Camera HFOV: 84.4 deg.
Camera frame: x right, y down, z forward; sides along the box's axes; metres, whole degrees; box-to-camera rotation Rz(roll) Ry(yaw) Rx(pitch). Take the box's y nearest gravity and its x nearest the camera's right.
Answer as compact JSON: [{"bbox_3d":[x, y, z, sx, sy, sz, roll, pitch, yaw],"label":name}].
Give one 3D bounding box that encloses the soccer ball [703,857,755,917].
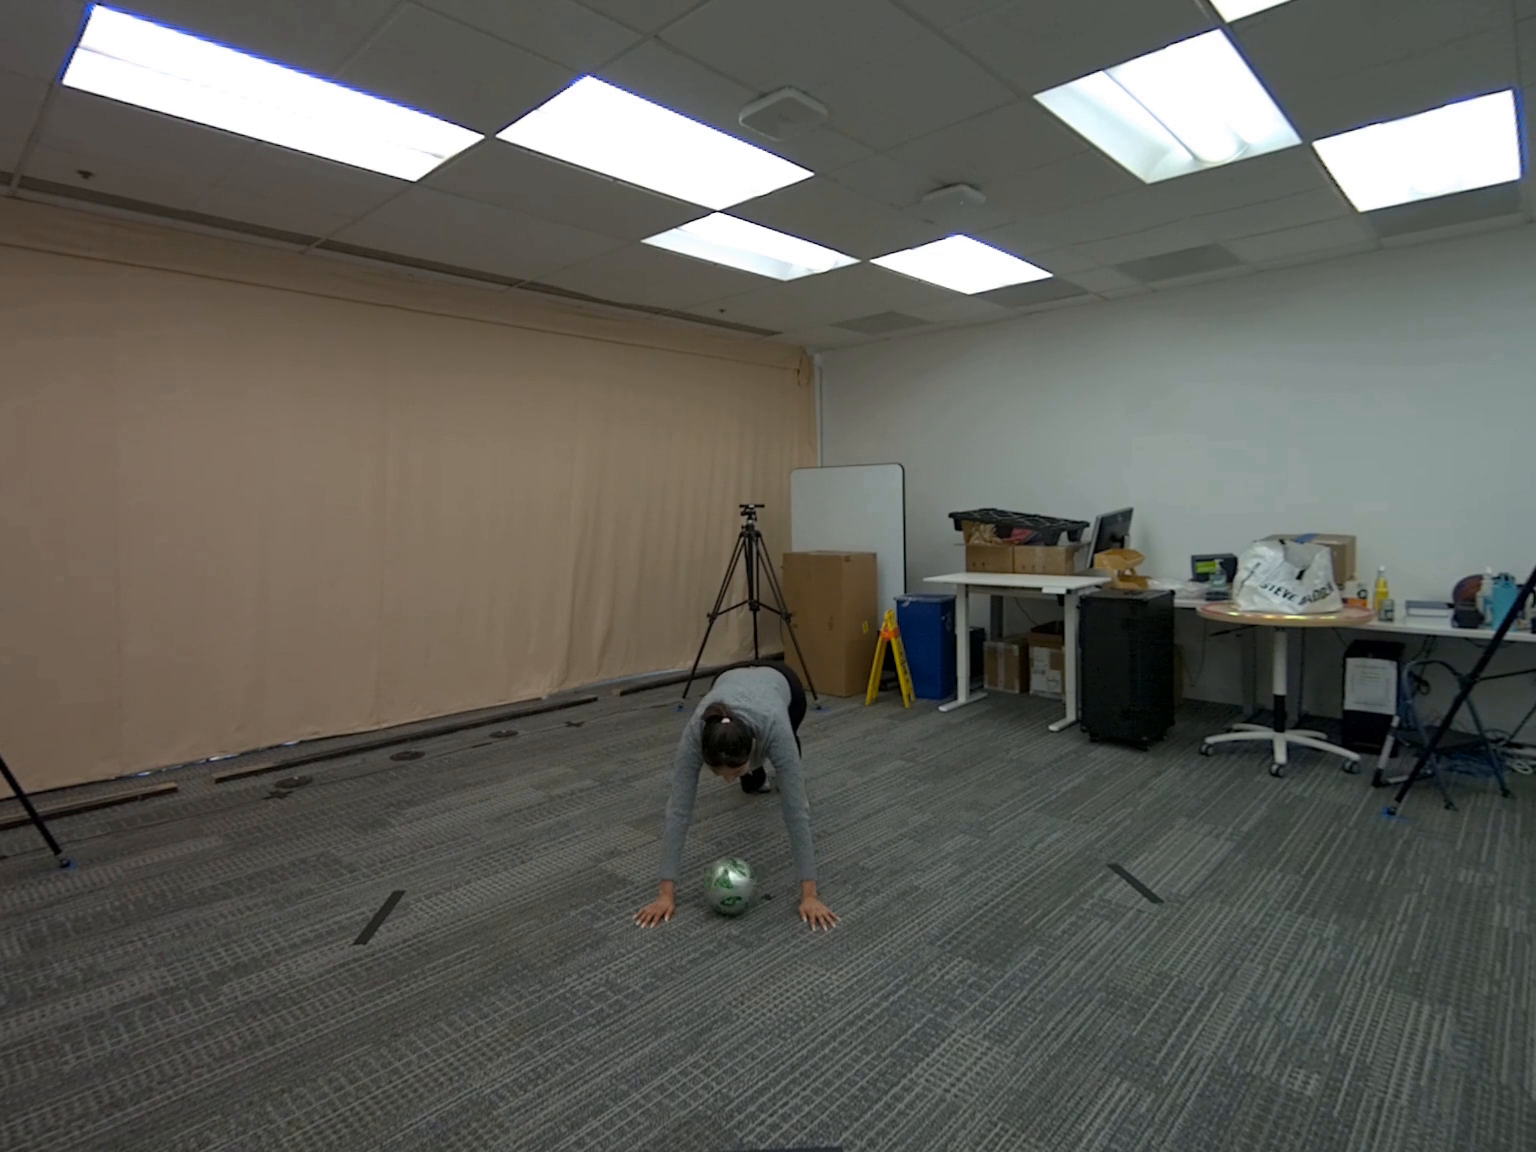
[{"bbox_3d":[-0.133,1.051,2.887,0.187,0.187,0.188,-1,4,-2],"label":"soccer ball"}]
